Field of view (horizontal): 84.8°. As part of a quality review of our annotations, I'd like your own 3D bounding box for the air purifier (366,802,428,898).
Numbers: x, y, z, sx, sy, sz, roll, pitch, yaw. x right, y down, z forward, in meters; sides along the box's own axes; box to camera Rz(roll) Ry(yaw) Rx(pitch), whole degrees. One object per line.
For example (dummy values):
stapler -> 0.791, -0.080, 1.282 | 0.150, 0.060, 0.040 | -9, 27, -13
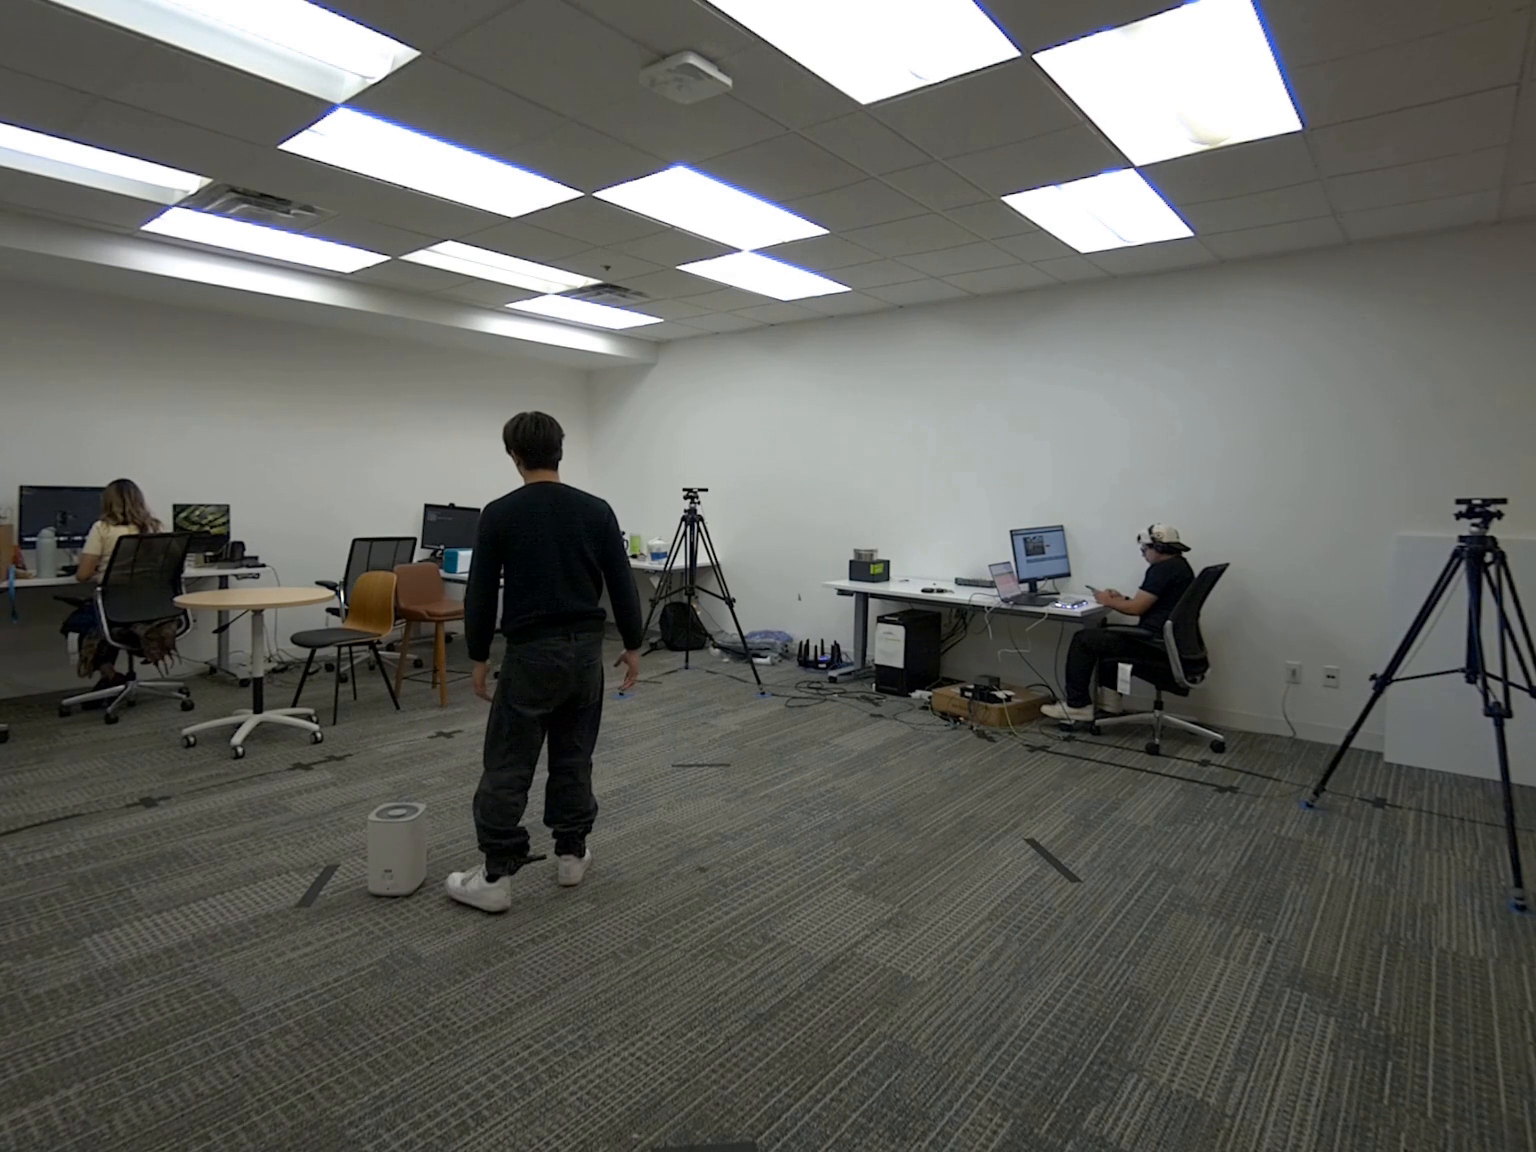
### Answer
air purifier -> -1.309, 0.953, 2.943 | 0.171, 0.264, 0.172 | 0, 4, -1
